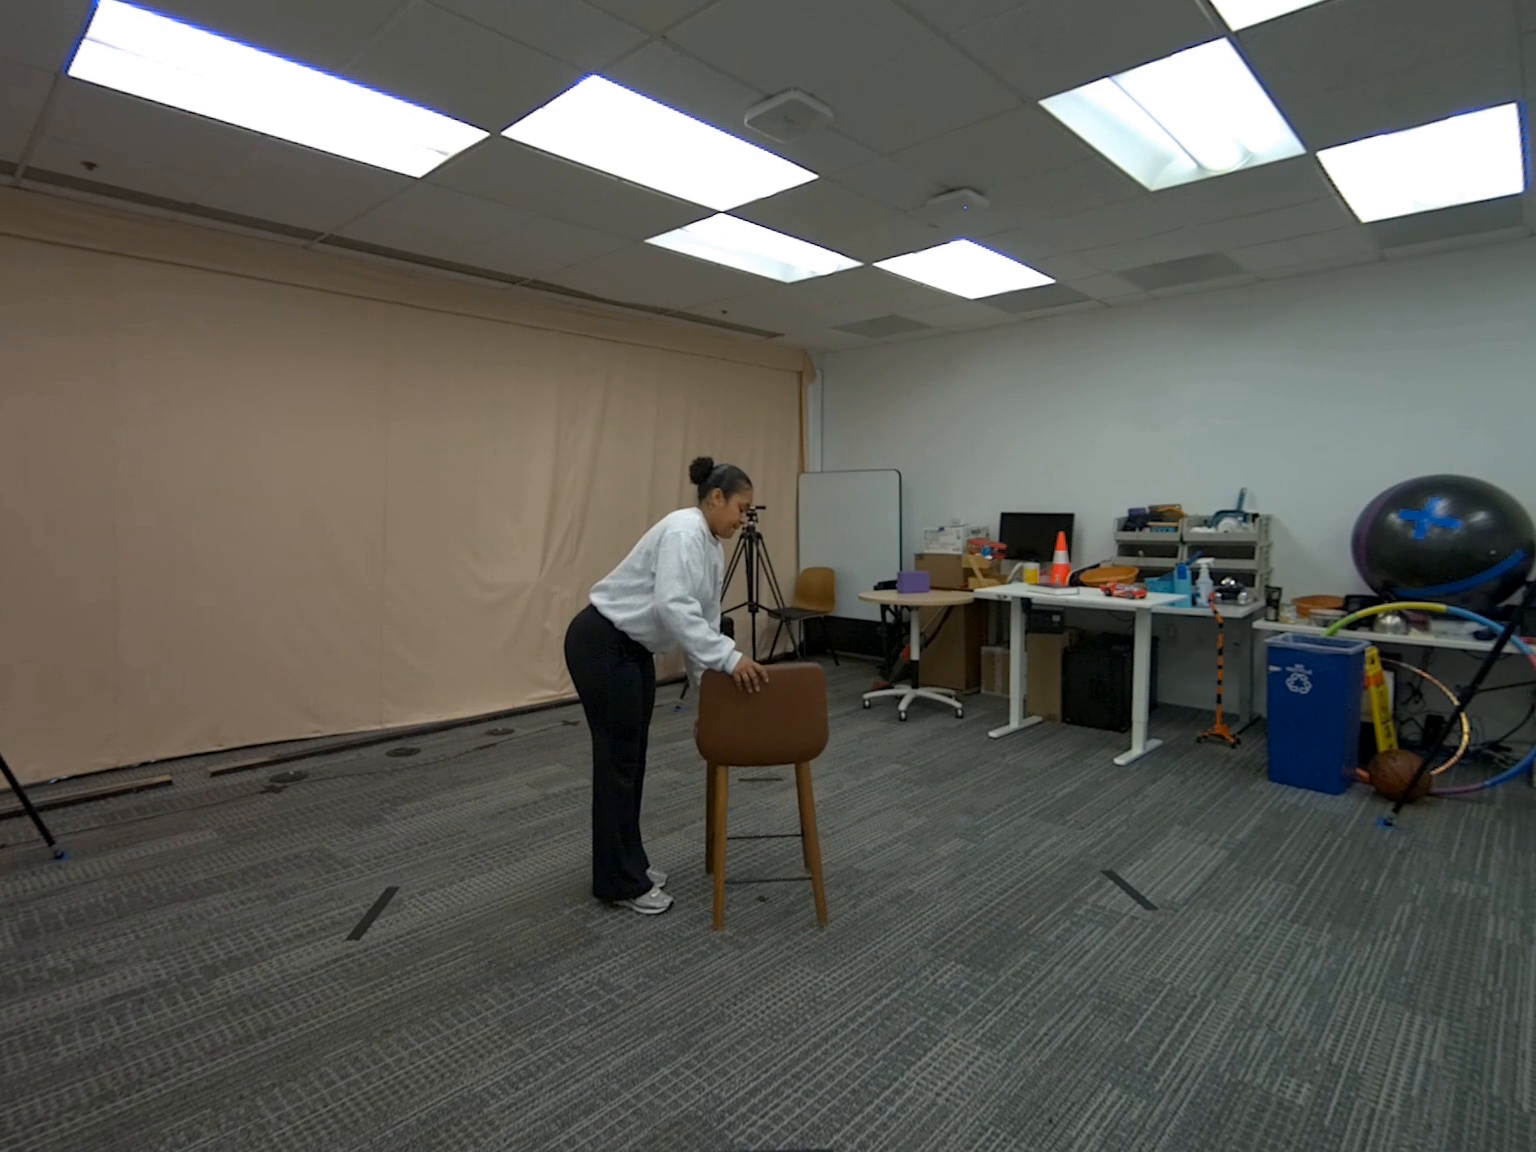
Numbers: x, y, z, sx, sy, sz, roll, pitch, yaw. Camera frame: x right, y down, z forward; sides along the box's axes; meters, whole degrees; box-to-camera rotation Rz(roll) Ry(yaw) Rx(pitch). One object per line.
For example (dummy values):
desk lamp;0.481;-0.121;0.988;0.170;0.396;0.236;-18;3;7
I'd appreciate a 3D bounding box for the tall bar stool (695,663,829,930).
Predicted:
tall bar stool;-0.031;0.708;2.958;0.455;0.886;0.471;-3;5;-4
